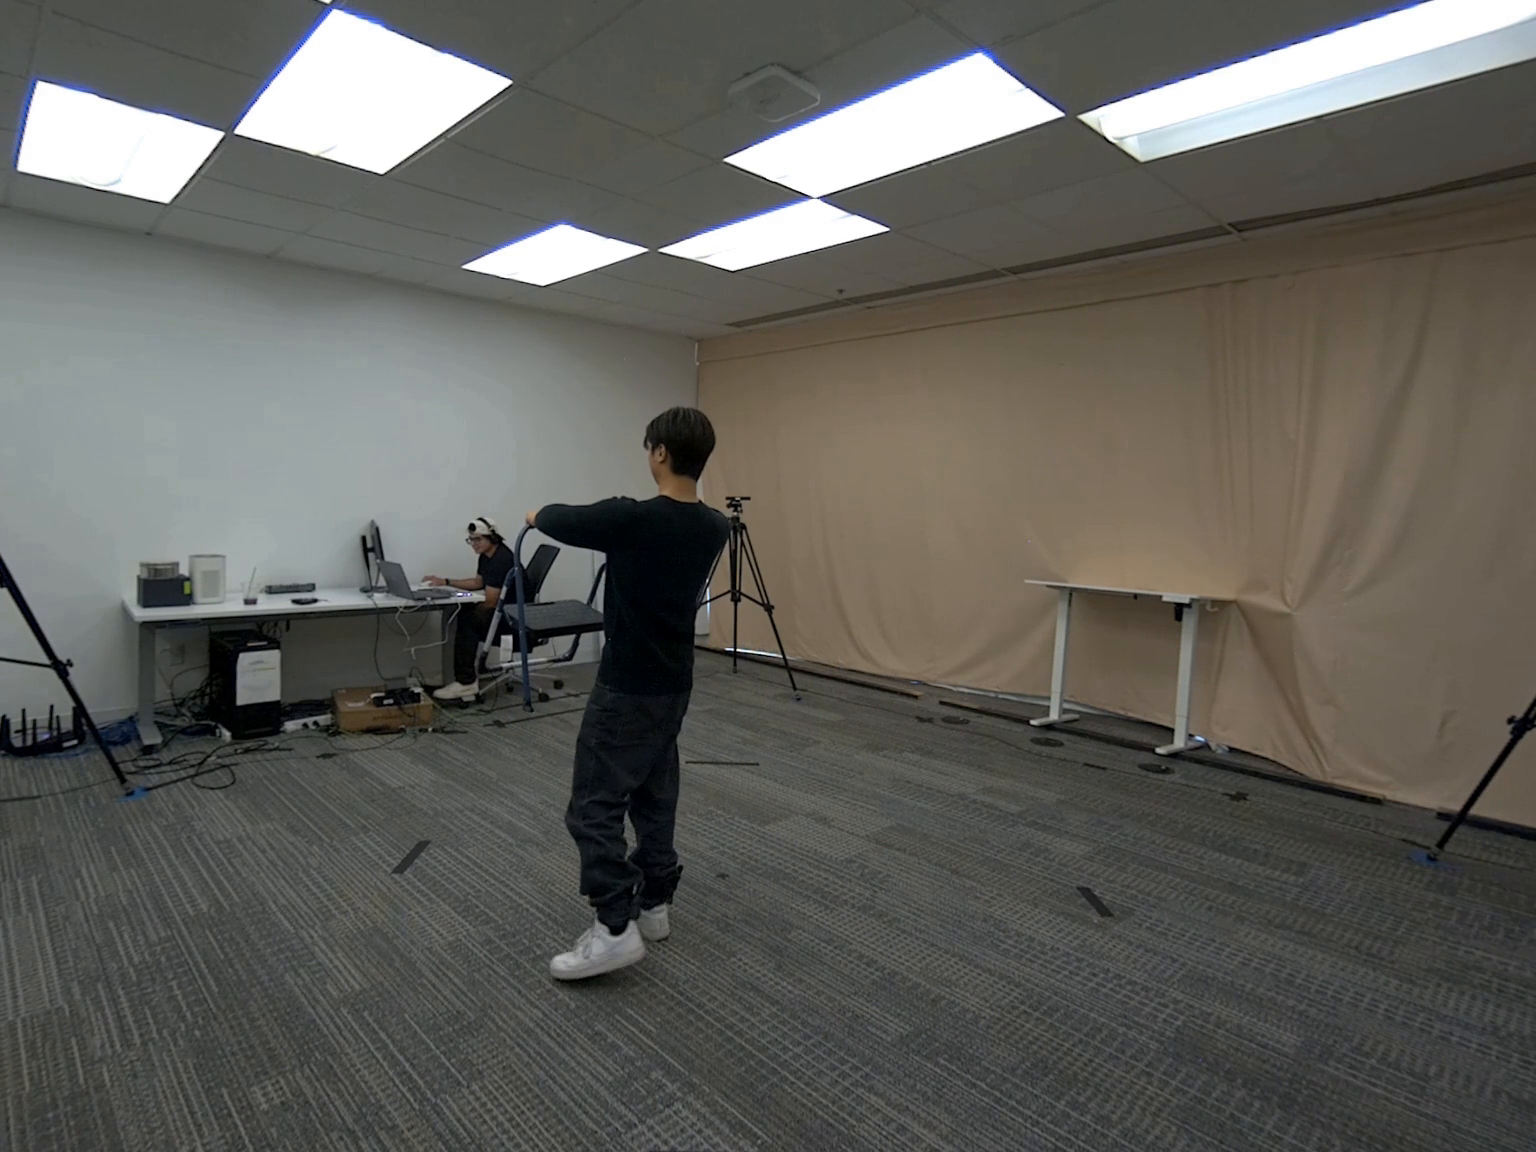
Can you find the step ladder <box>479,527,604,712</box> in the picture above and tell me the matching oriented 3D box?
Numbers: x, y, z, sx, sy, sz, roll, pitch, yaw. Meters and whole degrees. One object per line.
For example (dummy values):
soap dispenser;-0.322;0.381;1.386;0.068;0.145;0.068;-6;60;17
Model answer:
step ladder;-0.733;0.102;3.000;0.359;0.602;0.421;20;14;39
